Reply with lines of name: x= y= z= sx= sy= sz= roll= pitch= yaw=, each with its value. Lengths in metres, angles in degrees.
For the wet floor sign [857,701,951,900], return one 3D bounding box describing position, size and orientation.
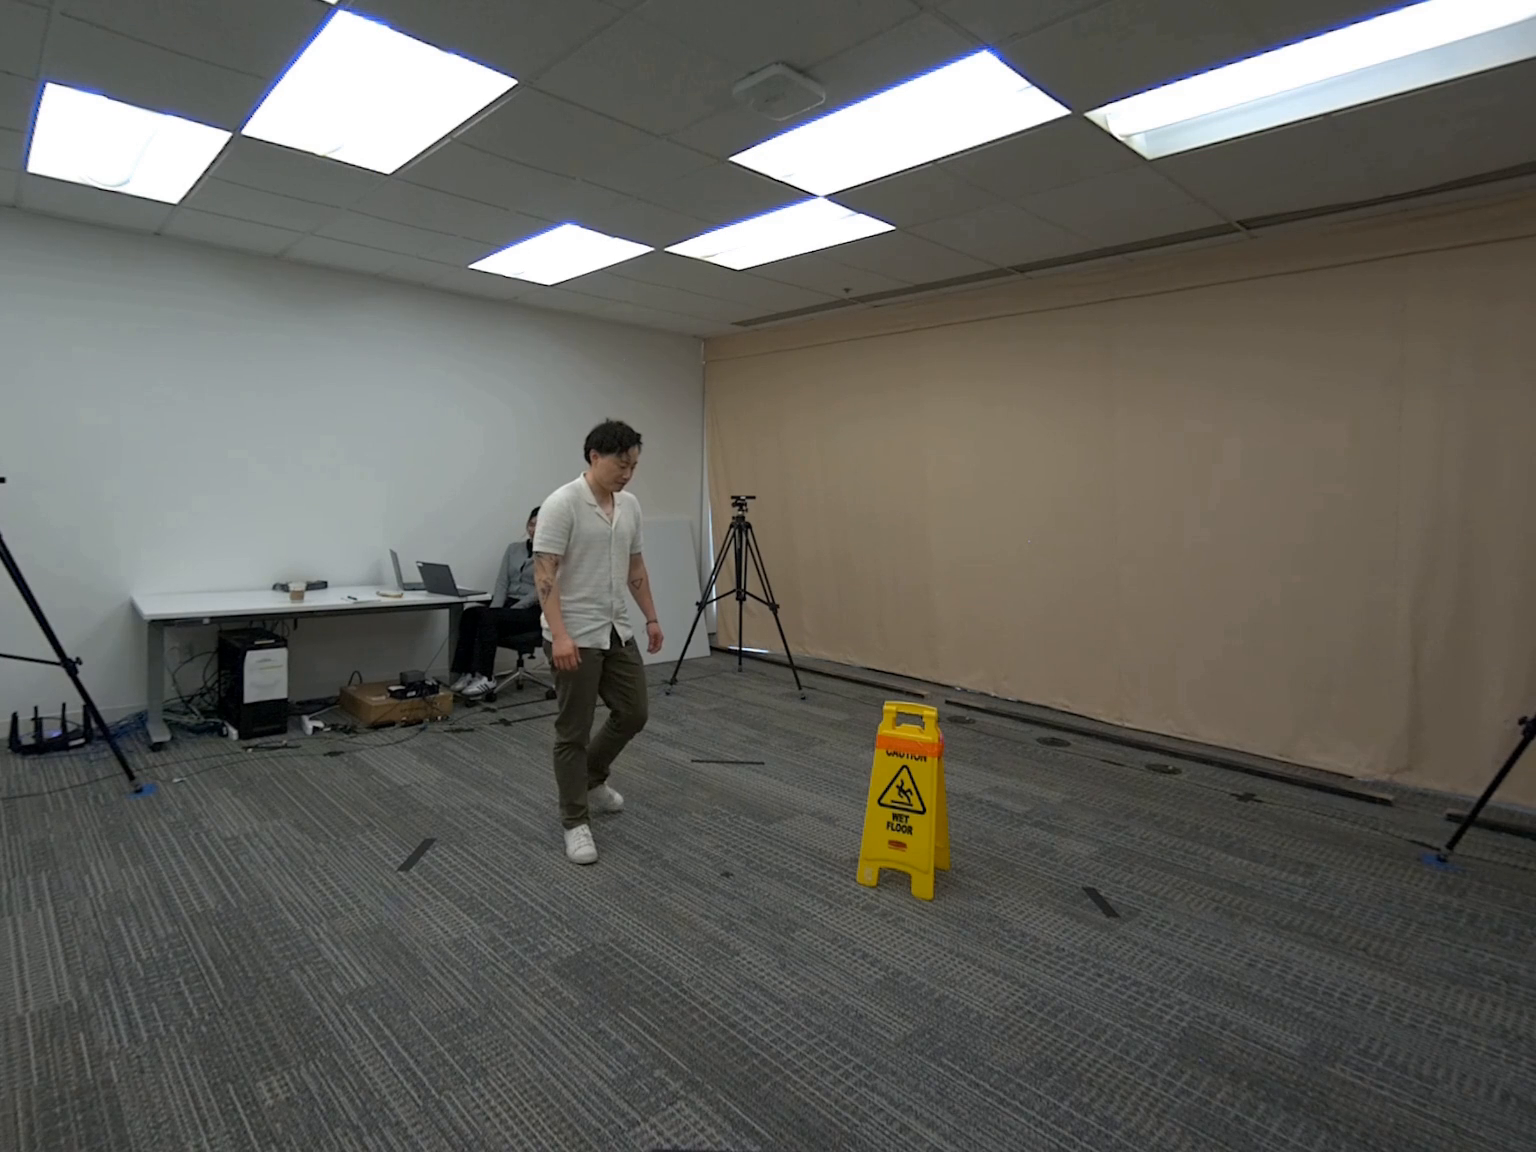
wet floor sign: x=0.513 y=0.797 z=3.113 sx=0.288 sy=0.645 sz=0.285 roll=4 pitch=3 yaw=25
